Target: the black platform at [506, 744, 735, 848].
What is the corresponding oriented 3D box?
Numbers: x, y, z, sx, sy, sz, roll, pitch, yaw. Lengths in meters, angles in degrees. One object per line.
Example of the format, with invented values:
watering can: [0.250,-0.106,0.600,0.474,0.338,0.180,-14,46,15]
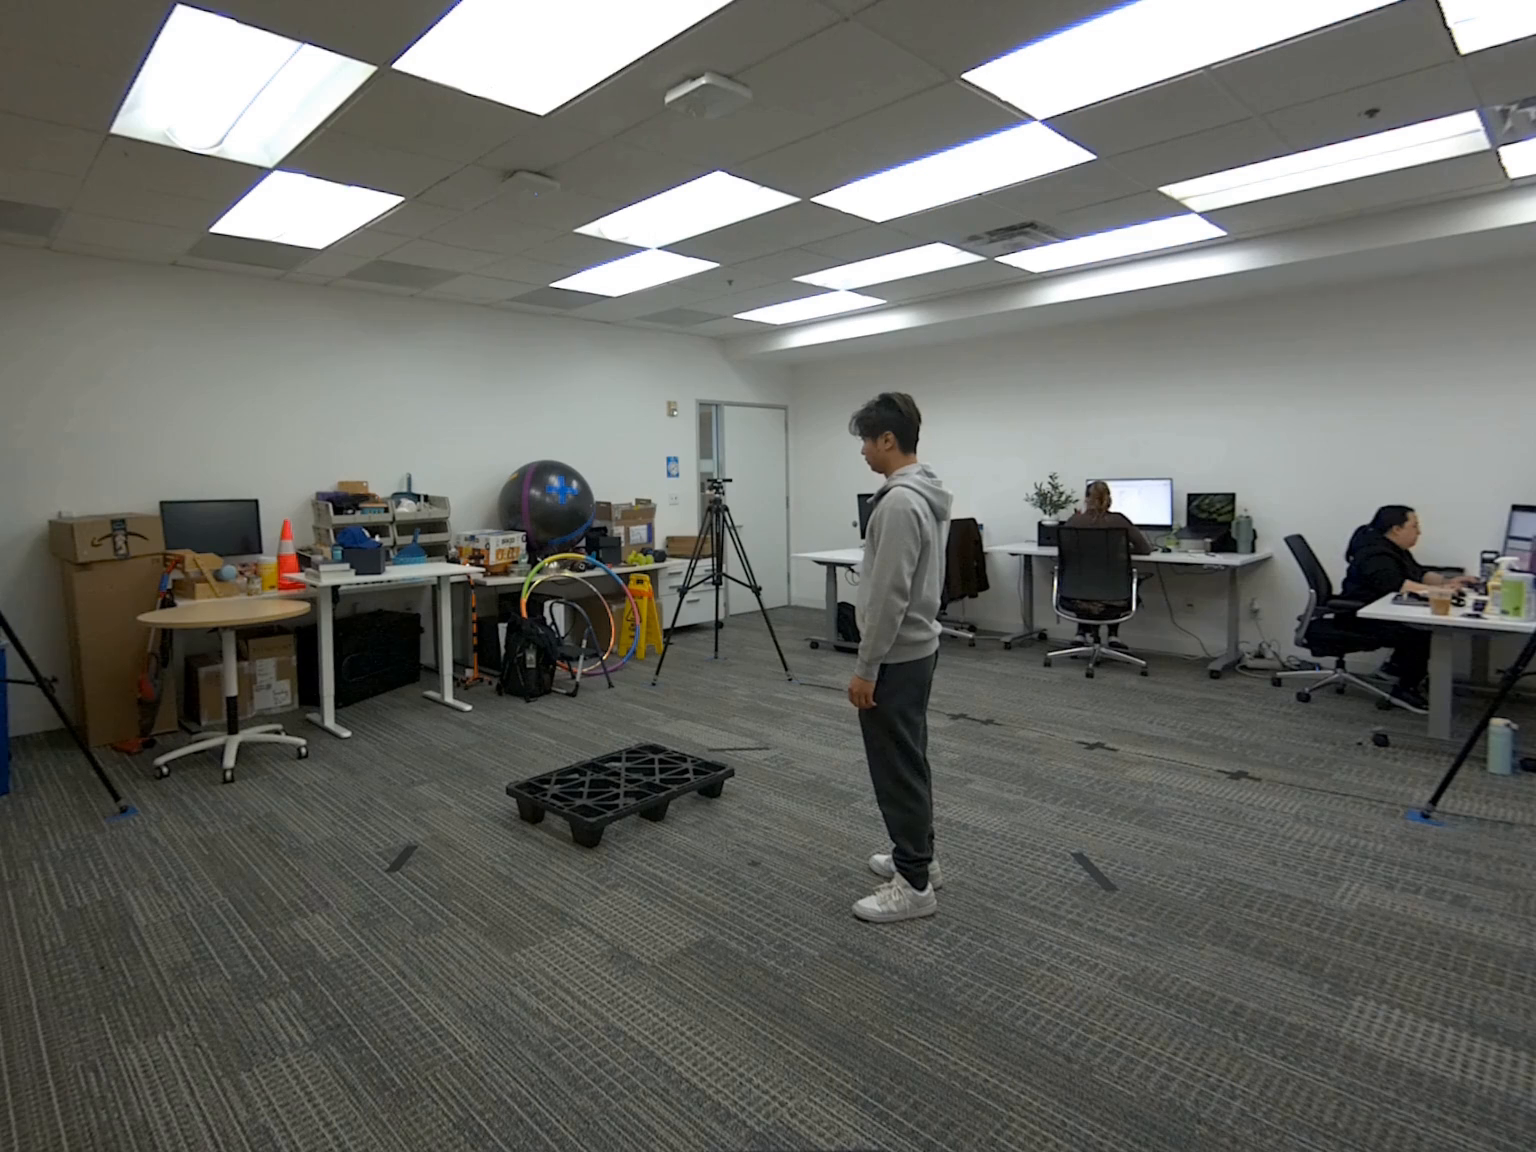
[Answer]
black platform: [-0.614,0.926,3.671,0.624,0.142,0.785,5,9,42]
